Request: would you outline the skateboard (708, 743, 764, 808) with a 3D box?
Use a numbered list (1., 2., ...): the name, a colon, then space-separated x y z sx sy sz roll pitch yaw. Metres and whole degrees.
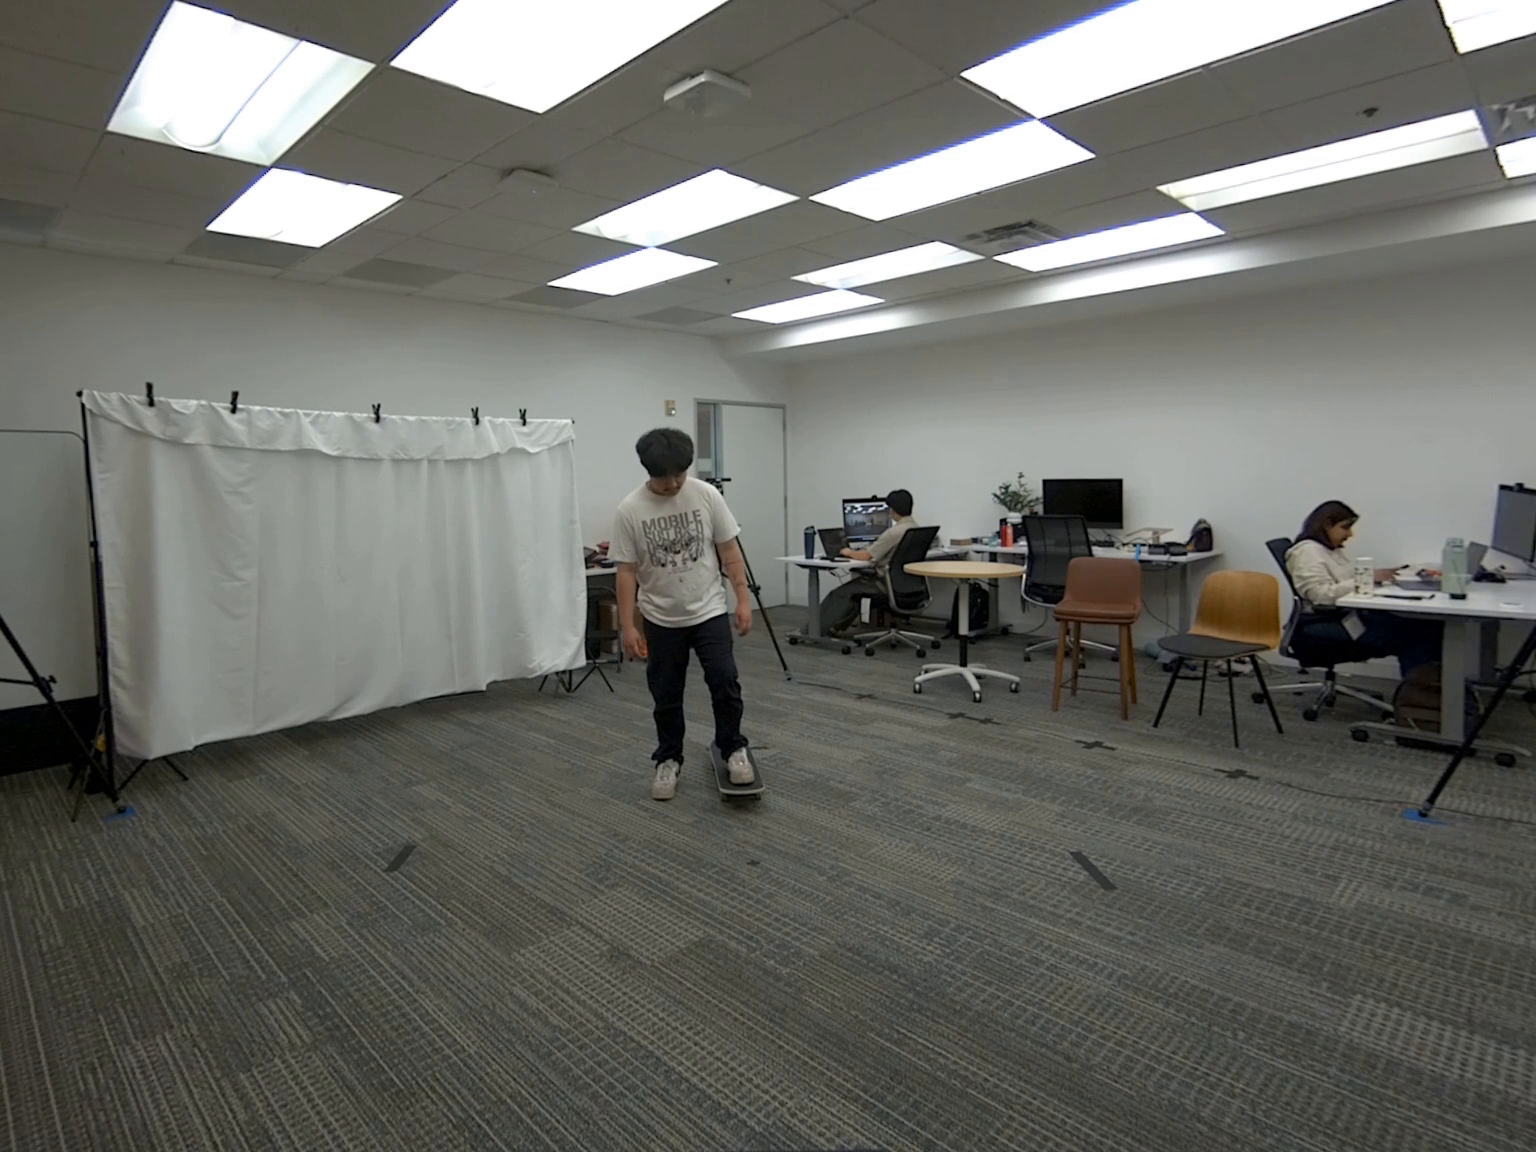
1. skateboard: -0.151 0.893 3.907 0.192 0.110 0.794 -3 7 -8
